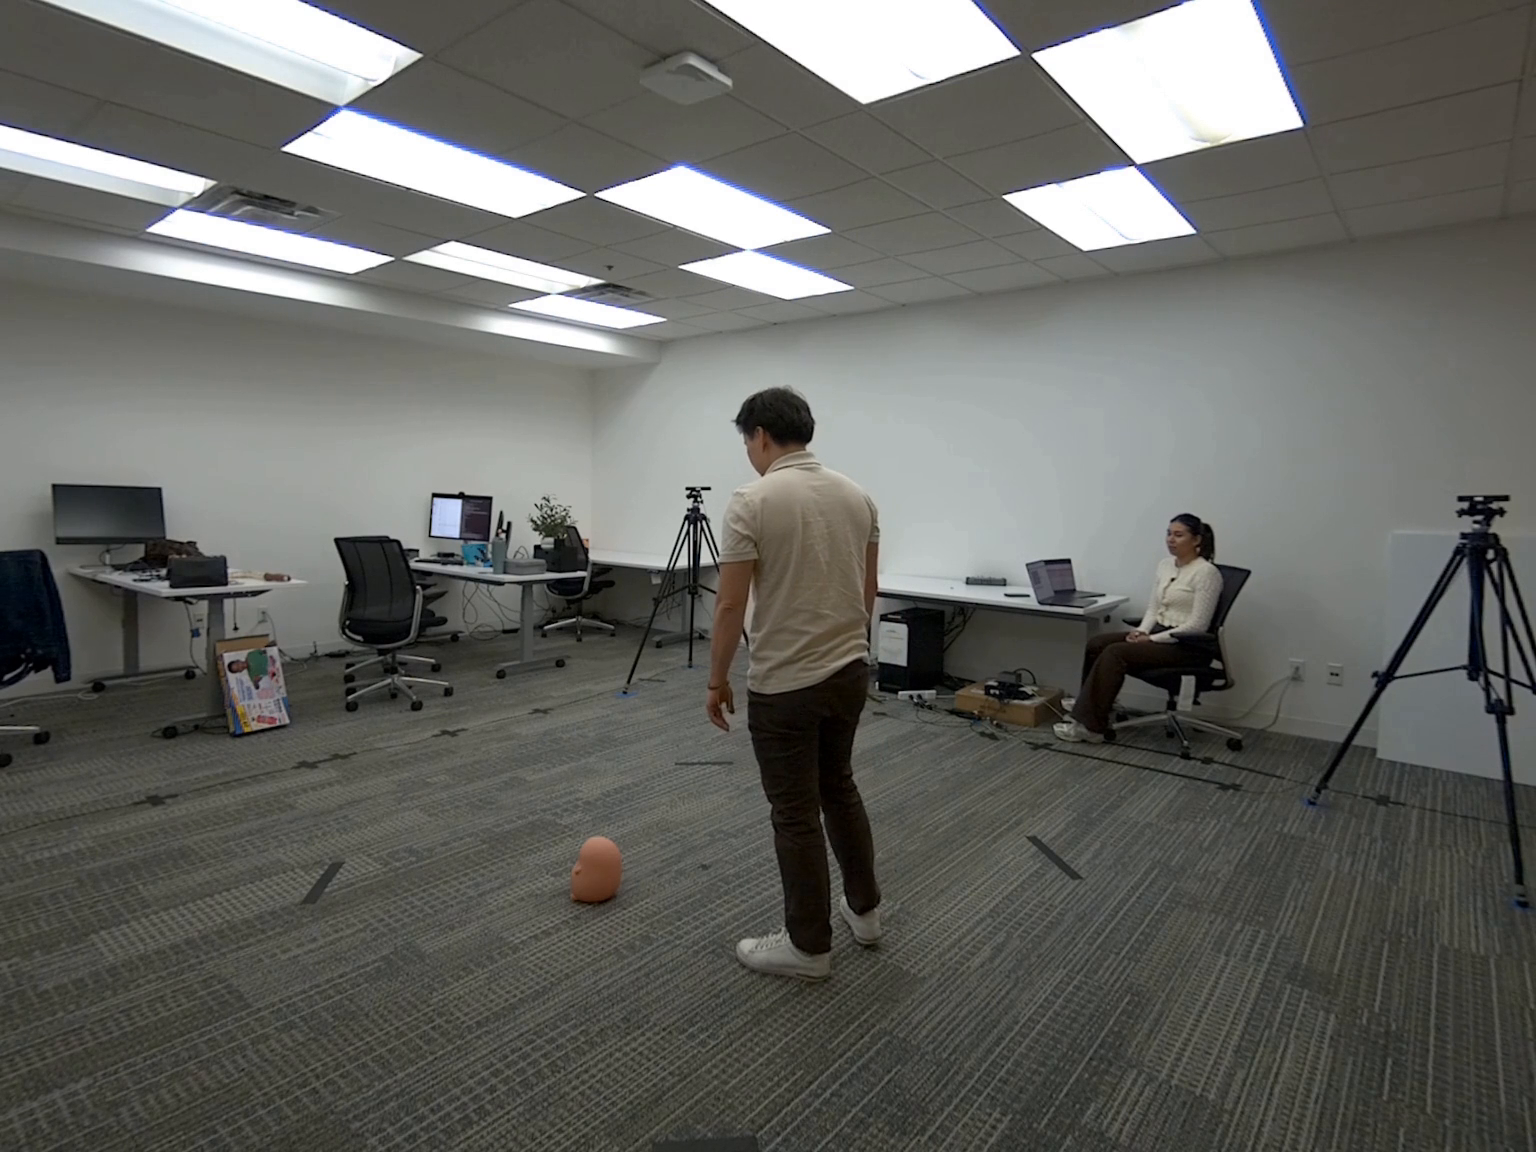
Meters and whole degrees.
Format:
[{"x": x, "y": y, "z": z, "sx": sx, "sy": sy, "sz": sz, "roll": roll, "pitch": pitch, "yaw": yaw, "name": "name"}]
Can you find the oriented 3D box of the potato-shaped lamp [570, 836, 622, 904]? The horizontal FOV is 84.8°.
[{"x": -0.590, "y": 0.984, "z": 2.878, "sx": 0.172, "sy": 0.197, "sz": 0.165, "roll": 3, "pitch": 6, "yaw": 3, "name": "potato-shaped lamp"}]
